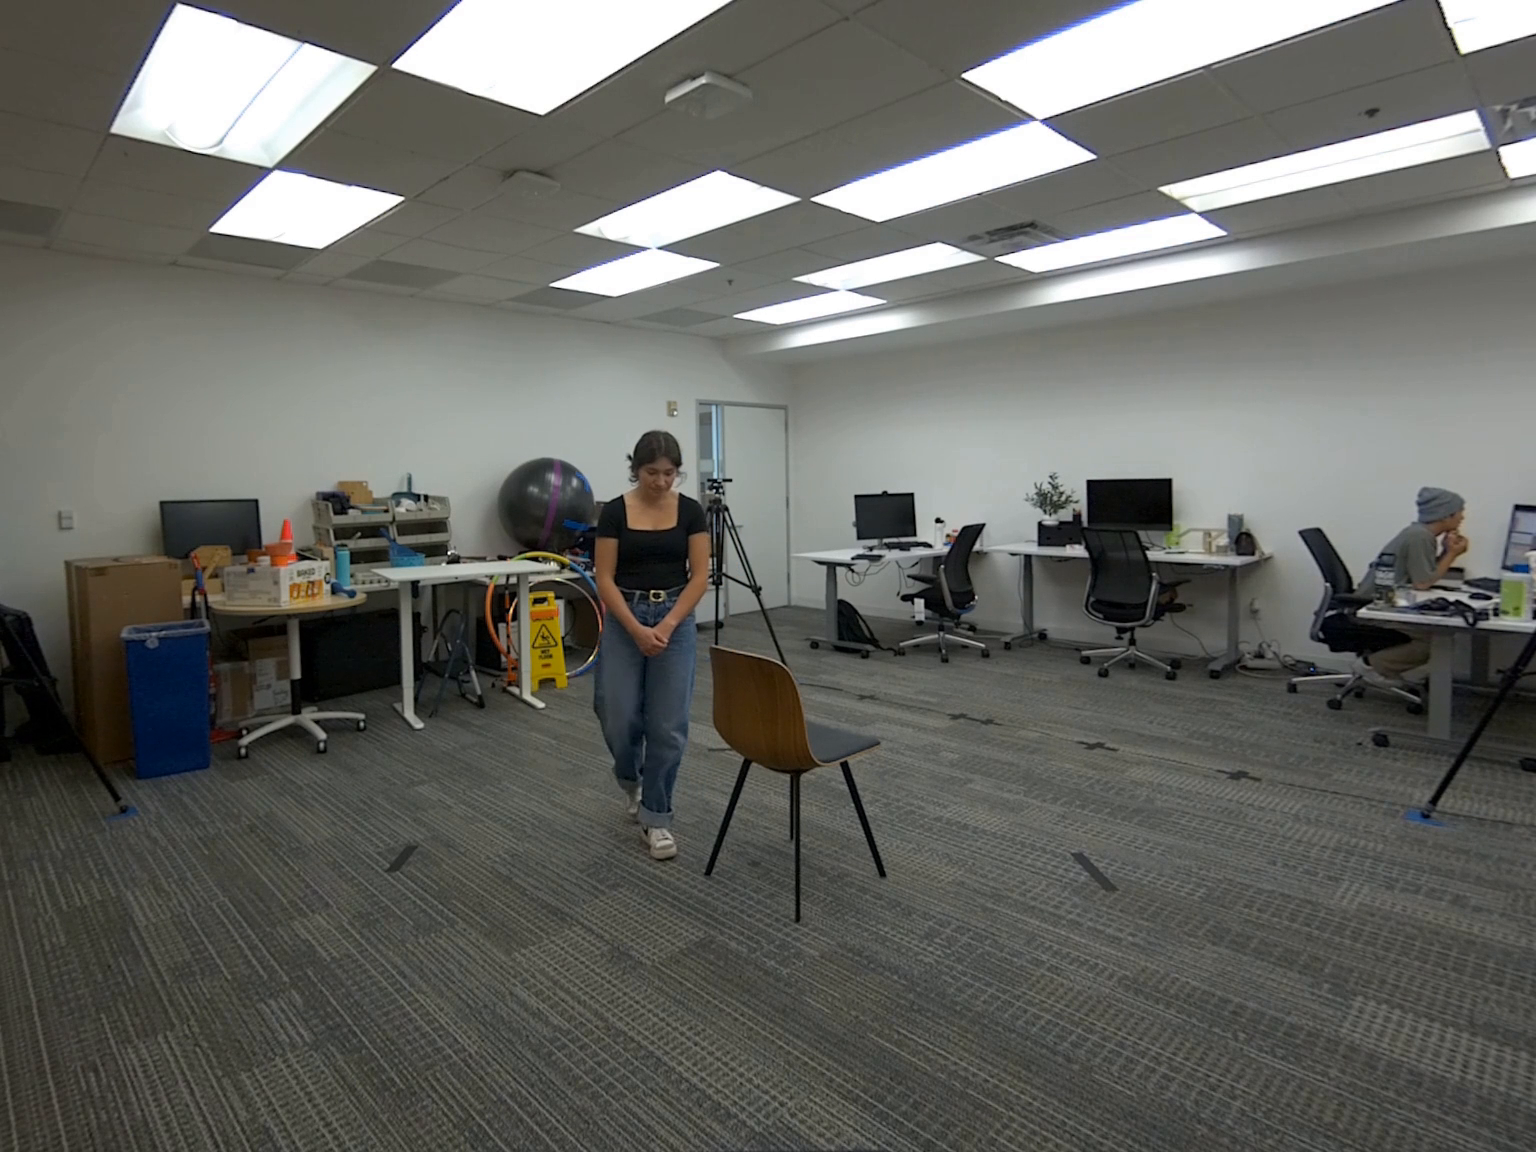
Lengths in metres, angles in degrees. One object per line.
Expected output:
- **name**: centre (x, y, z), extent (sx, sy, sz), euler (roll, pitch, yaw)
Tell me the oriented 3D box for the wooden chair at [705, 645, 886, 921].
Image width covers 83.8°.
- **wooden chair**: centre (0.095, 0.633, 2.969), extent (0.511, 0.871, 0.493), euler (-11, 10, -43)
